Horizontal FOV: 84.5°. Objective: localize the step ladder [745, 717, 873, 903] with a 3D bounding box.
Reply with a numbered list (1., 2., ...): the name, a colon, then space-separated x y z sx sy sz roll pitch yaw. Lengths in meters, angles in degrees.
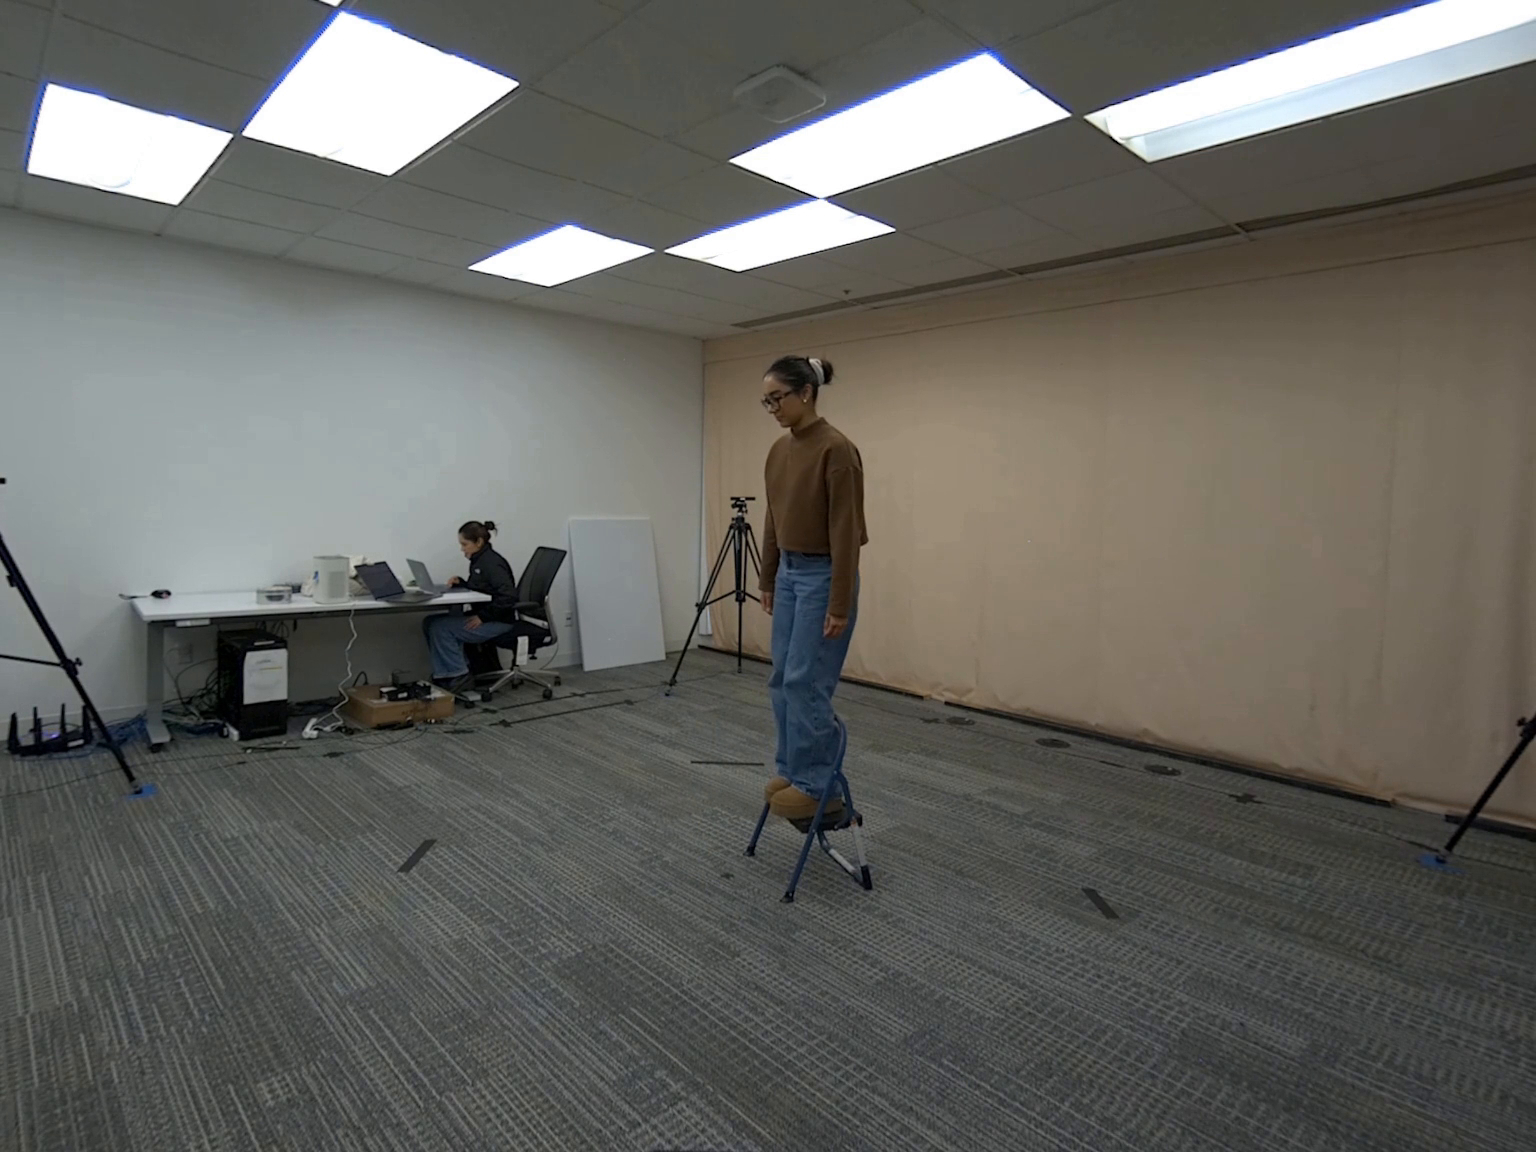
1. step ladder: 0.146 0.811 3.138 0.344 0.604 0.438 0 4 -21
